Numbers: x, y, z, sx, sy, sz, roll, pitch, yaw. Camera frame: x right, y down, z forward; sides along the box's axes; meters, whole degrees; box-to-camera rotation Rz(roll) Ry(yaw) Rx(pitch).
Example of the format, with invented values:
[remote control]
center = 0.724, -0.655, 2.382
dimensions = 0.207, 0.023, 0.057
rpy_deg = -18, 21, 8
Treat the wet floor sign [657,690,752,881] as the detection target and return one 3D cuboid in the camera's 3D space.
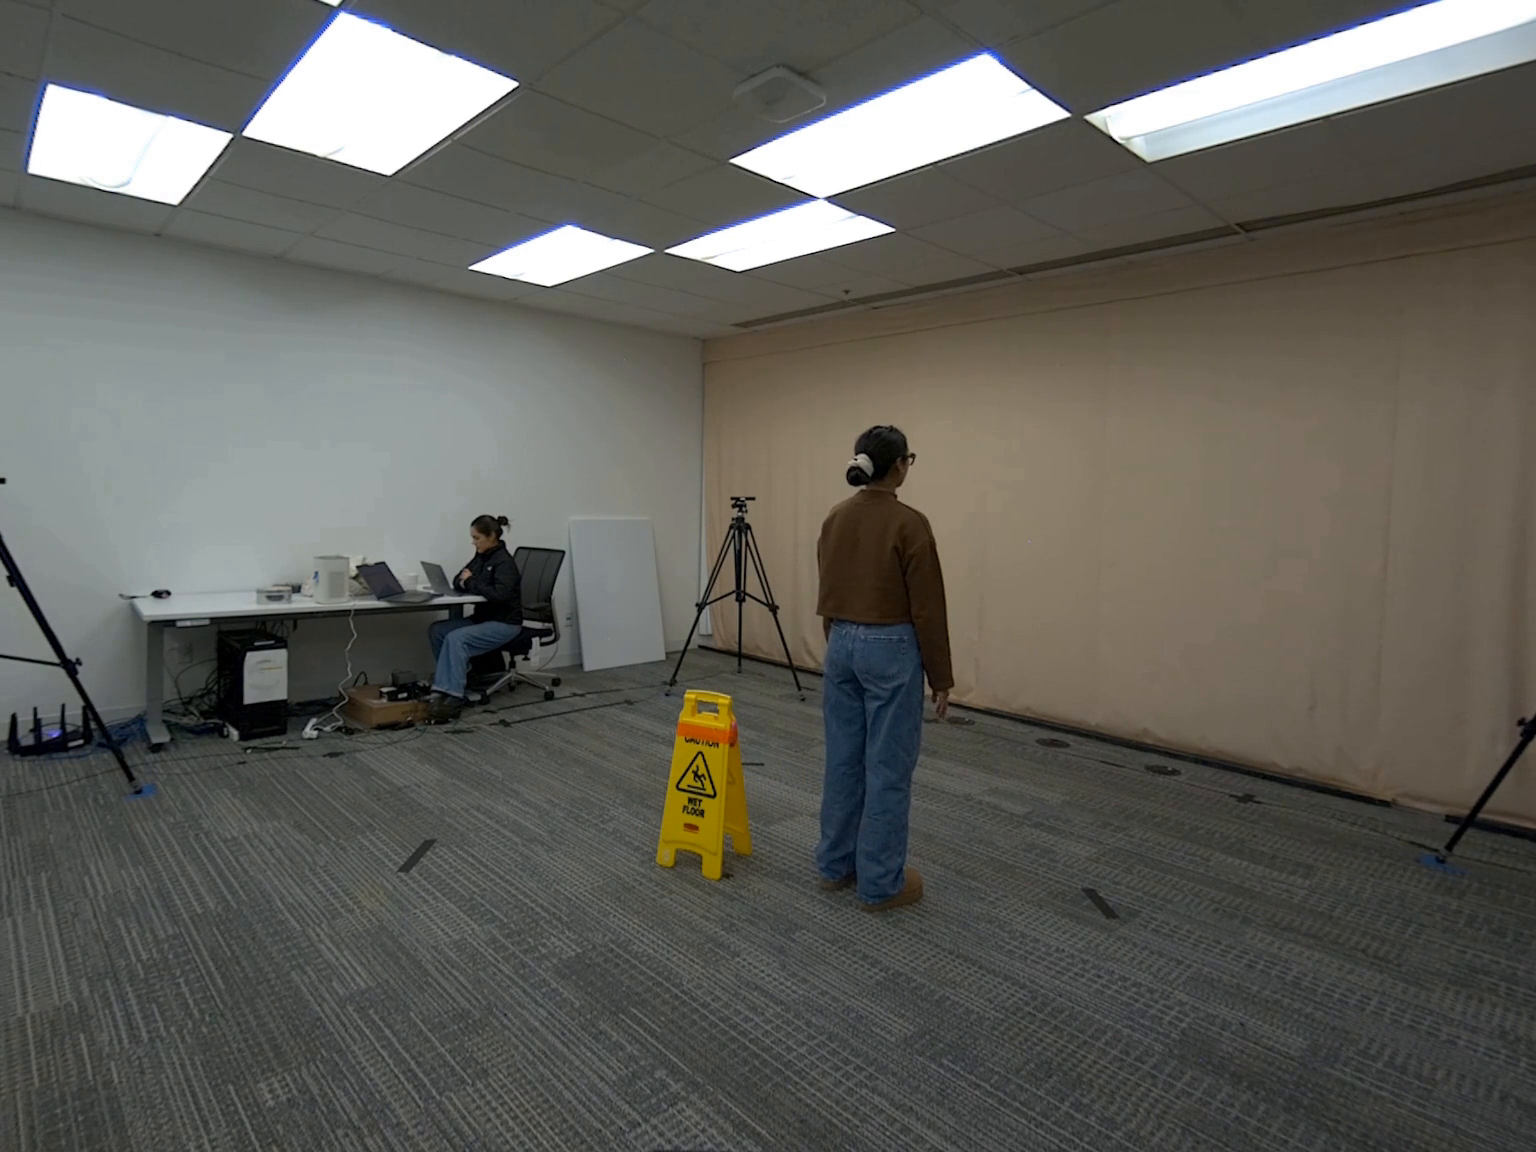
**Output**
[wet floor sign]
center = -0.242, 0.768, 3.233
dimensions = 0.288, 0.645, 0.284
rpy_deg = 3, 3, 26
